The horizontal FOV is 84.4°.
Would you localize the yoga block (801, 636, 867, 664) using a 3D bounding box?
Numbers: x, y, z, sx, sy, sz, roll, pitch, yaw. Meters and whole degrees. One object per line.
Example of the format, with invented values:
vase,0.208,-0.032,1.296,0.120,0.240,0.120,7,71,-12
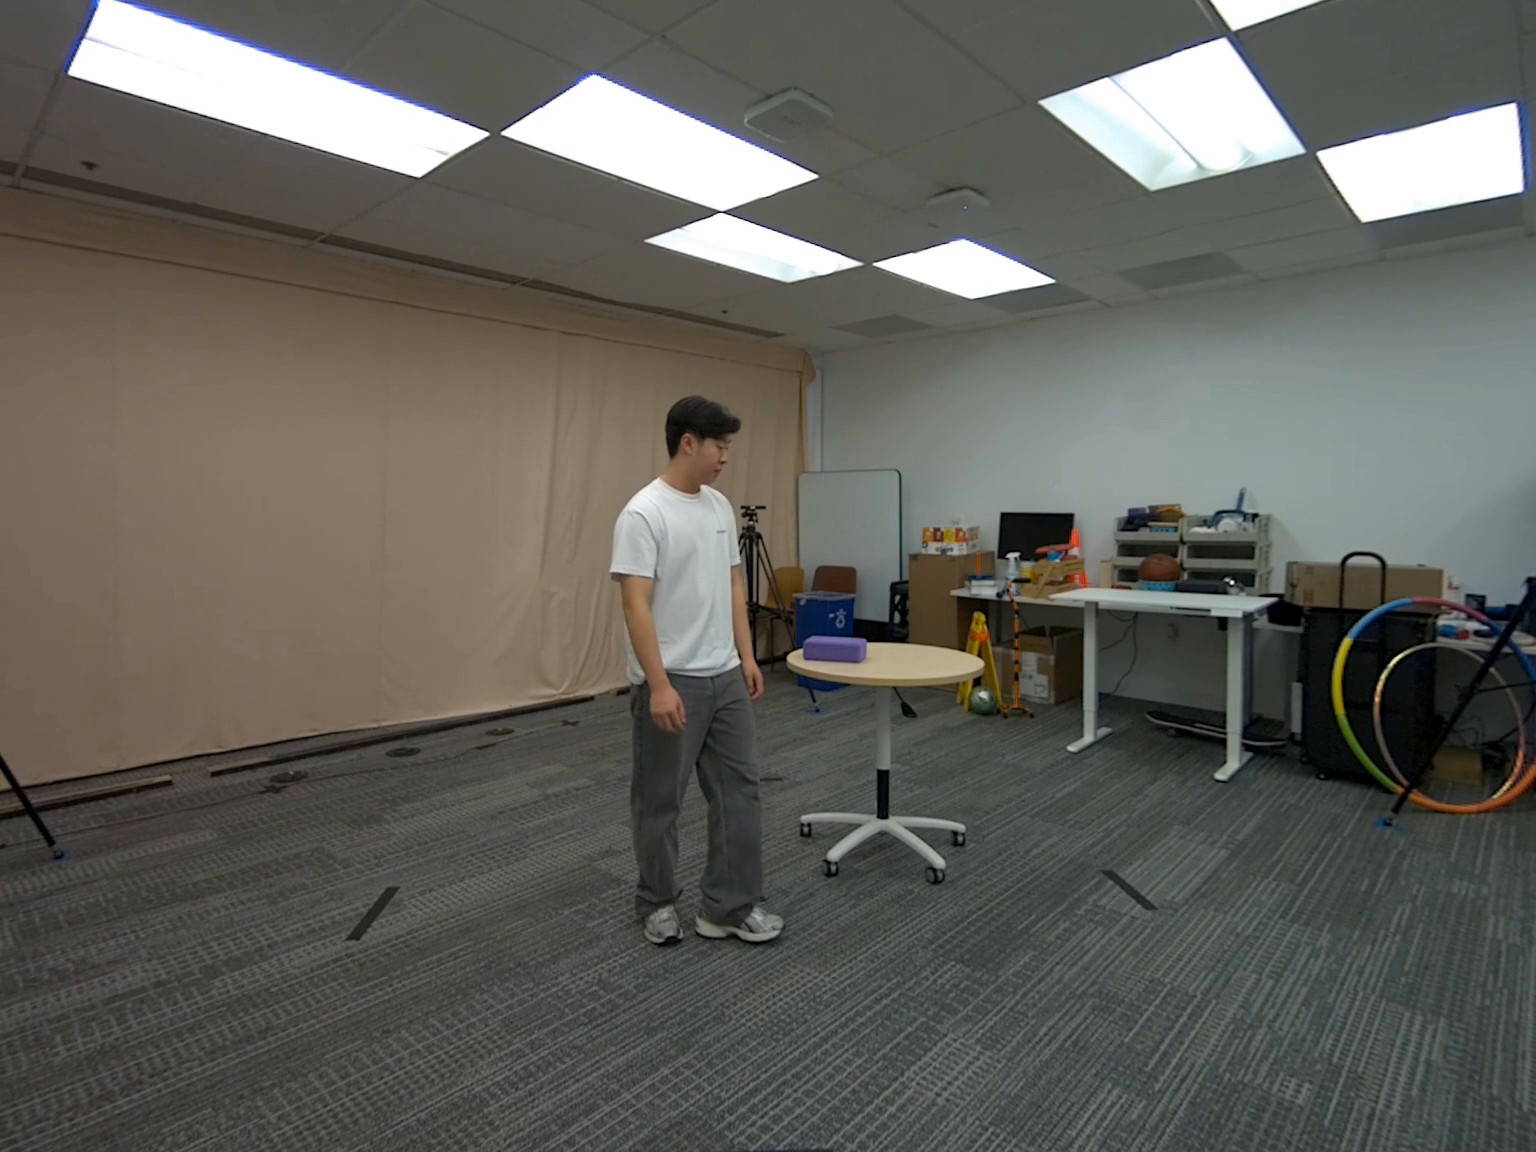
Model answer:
yoga block,0.278,0.292,3.353,0.234,0.076,0.146,2,5,18
